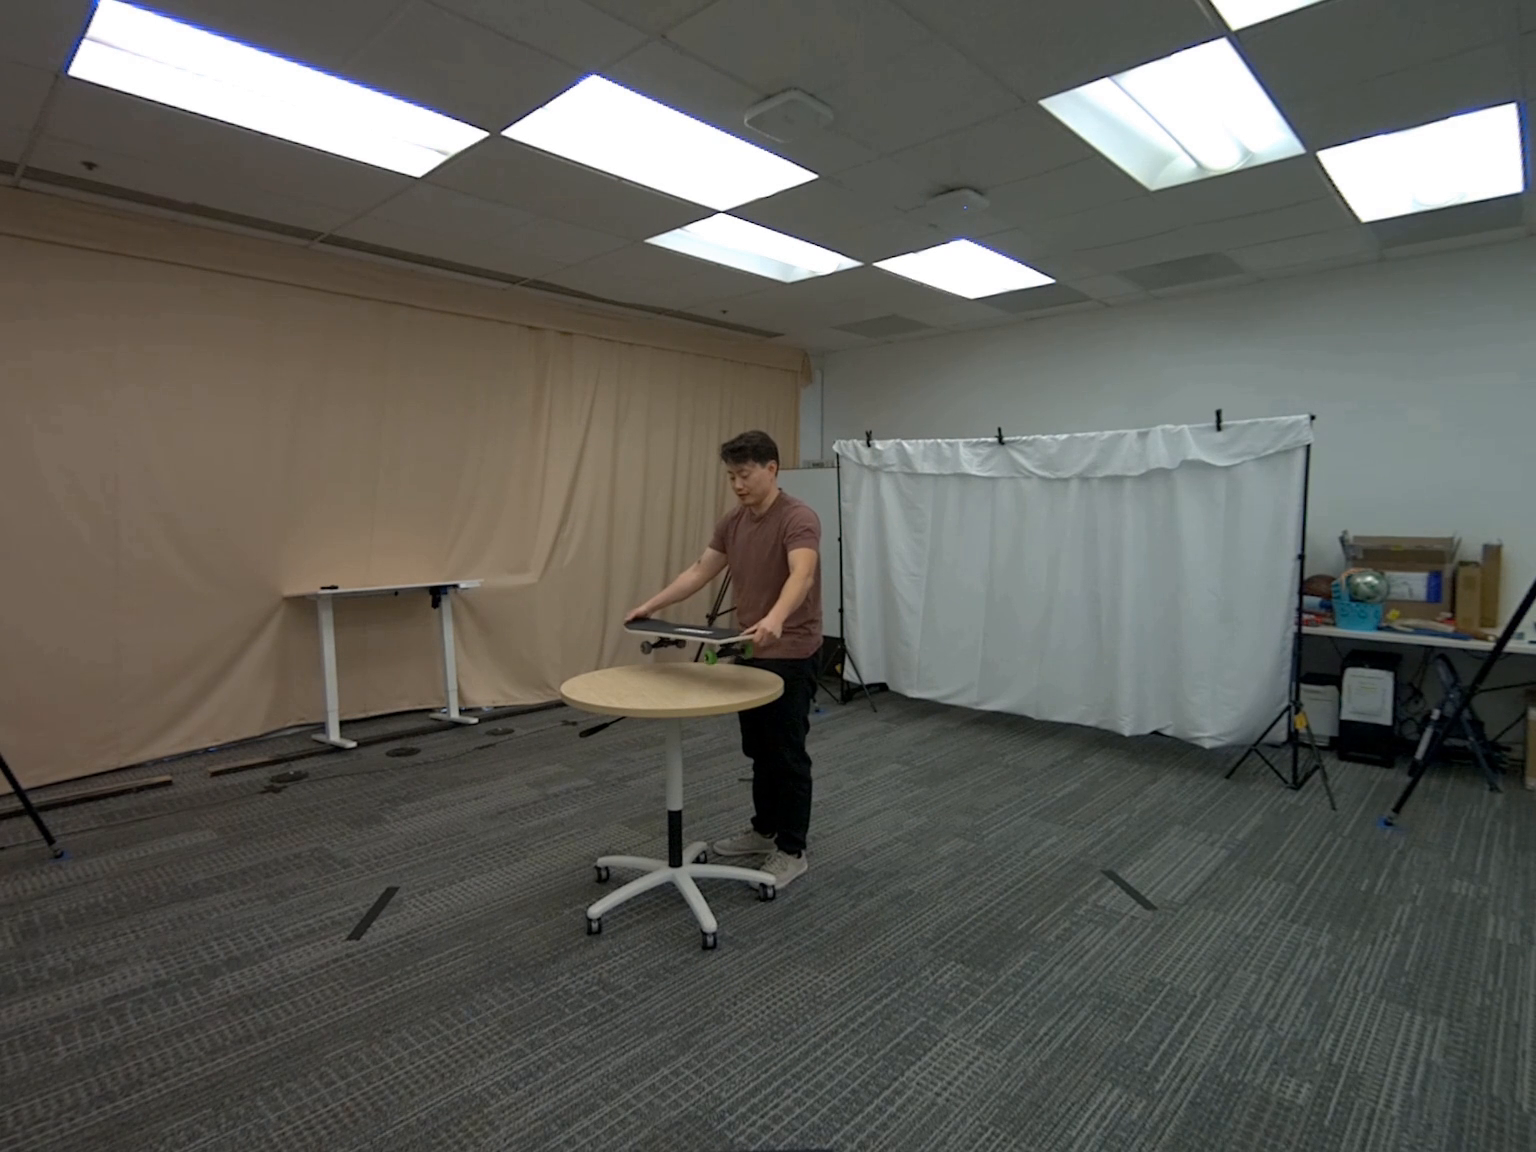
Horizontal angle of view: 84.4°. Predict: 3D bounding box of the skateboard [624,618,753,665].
[{"bbox_3d":[-0.262,0.229,2.967,0.188,0.110,0.810,-8,6,-37],"label":"skateboard"}]
